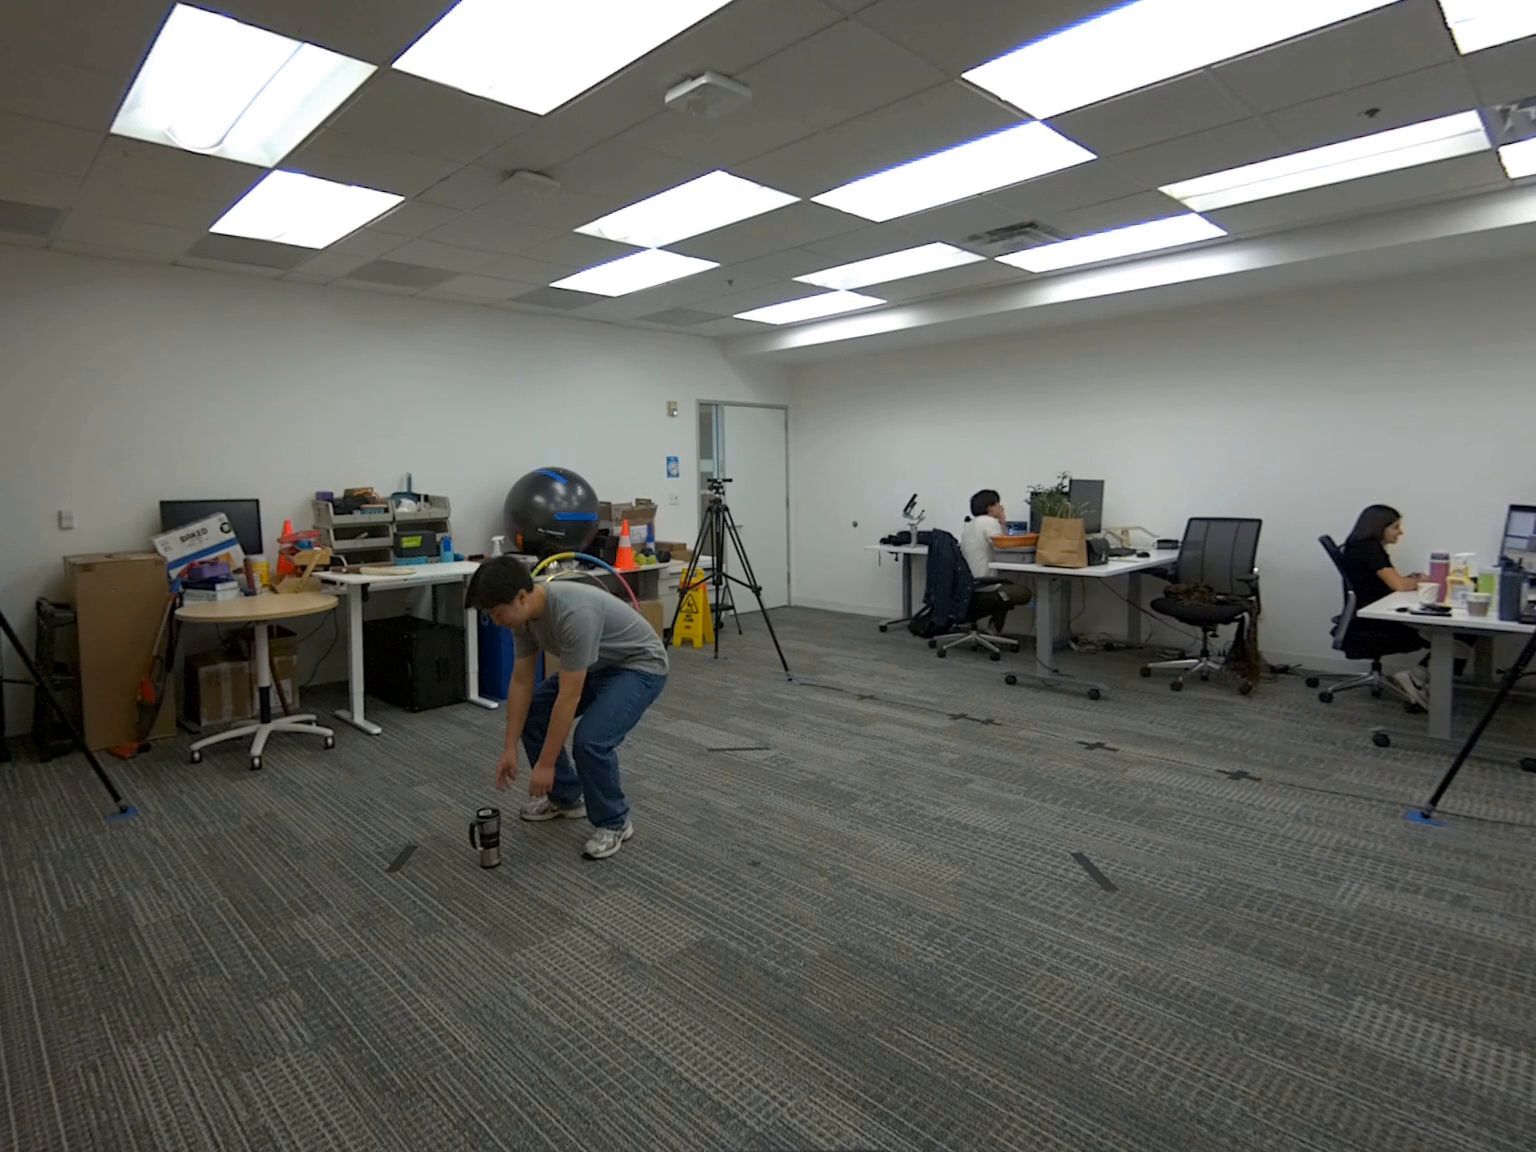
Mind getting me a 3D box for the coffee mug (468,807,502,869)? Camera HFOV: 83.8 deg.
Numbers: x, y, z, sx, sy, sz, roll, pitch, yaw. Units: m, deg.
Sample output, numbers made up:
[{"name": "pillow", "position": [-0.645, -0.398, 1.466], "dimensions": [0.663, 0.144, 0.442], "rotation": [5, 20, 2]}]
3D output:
[{"name": "coffee mug", "position": [-1.044, 0.969, 3.126], "dimensions": [0.091, 0.202, 0.118], "rotation": [5, 5, 44]}]
